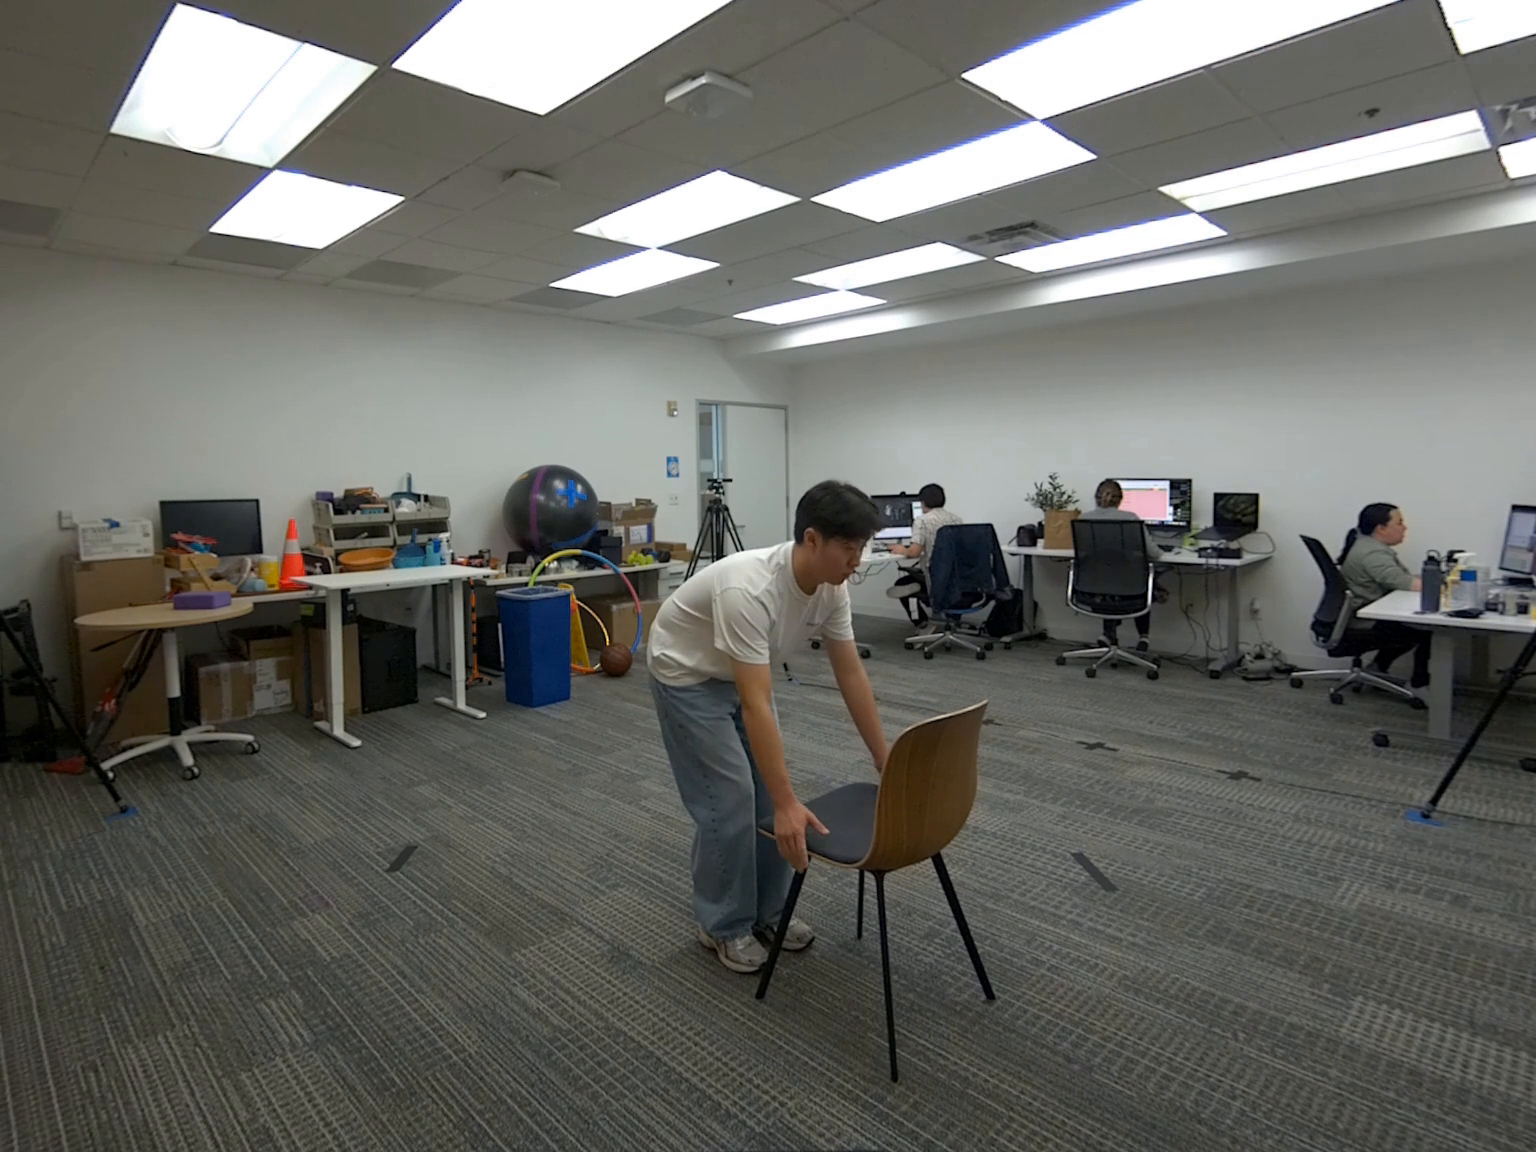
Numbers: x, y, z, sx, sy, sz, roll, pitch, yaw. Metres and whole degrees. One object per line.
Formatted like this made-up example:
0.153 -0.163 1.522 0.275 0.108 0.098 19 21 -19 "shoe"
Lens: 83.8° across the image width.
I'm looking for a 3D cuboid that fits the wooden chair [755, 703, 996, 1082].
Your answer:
0.268 0.702 2.268 0.465 0.871 0.540 -6 11 -45 "wooden chair"
